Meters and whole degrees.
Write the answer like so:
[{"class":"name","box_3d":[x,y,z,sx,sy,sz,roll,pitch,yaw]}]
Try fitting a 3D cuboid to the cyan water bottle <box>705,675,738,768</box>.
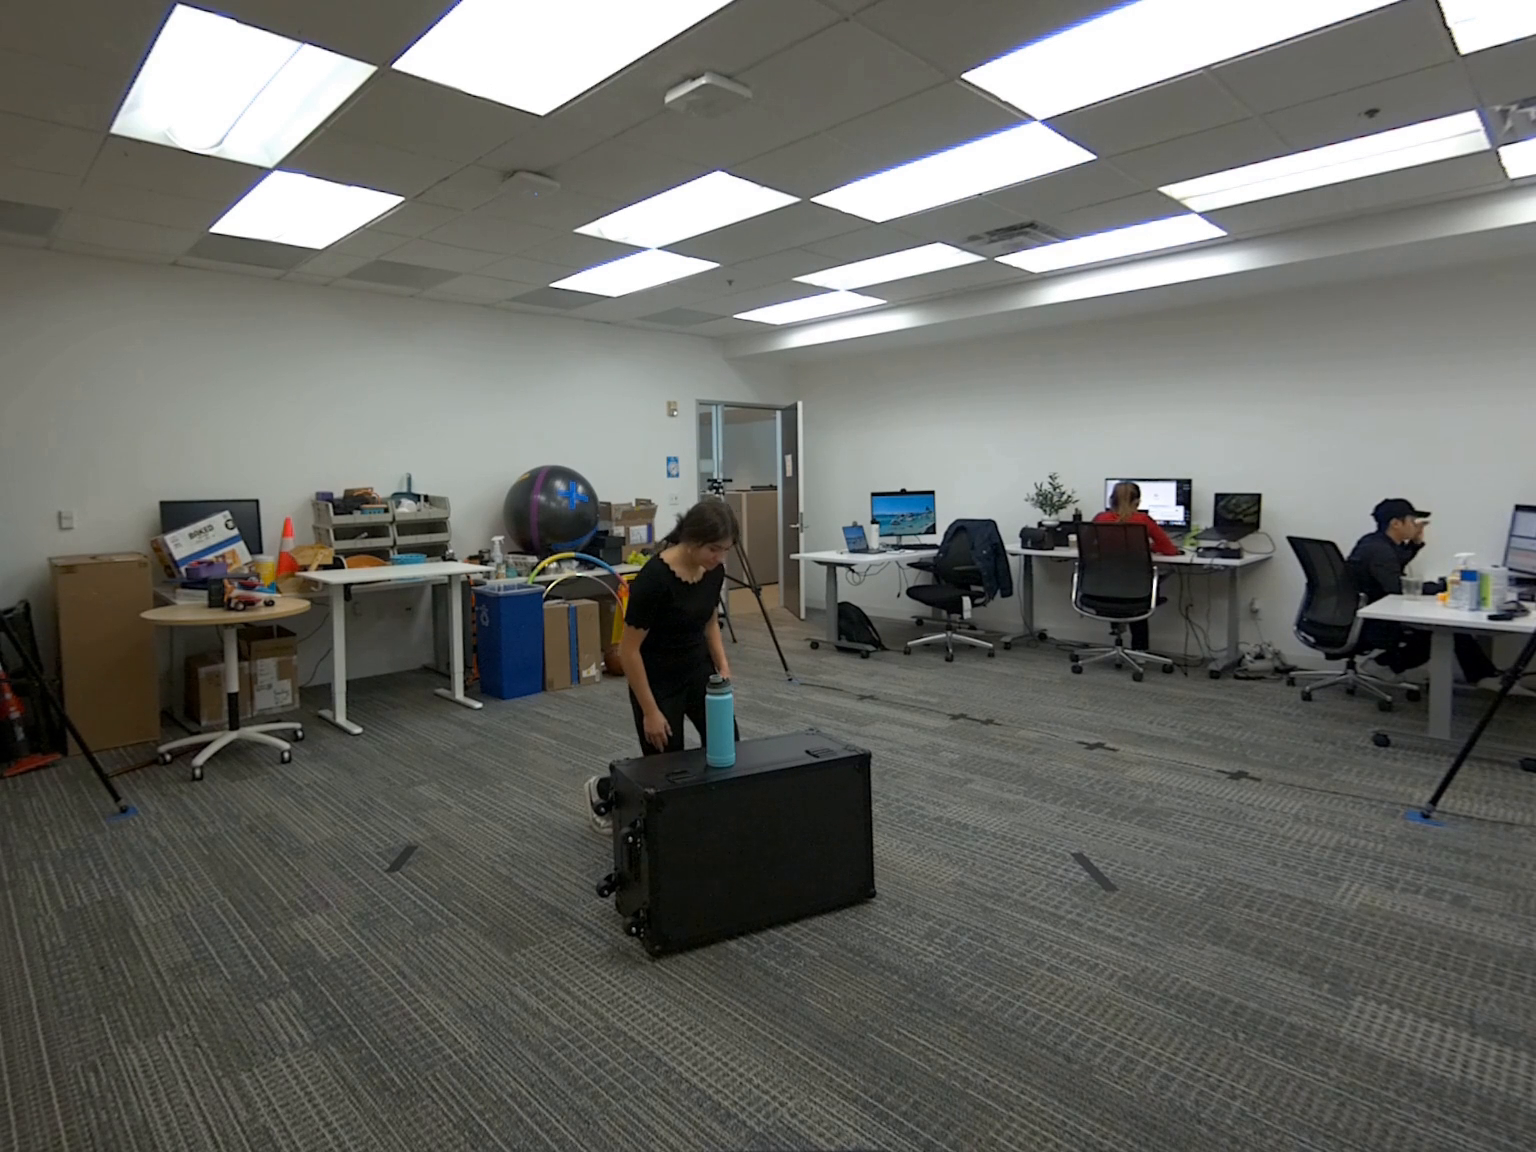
[{"class":"cyan water bottle","box_3d":[-0.154,0.461,2.732,0.092,0.282,0.093,-1,3,-2]}]
